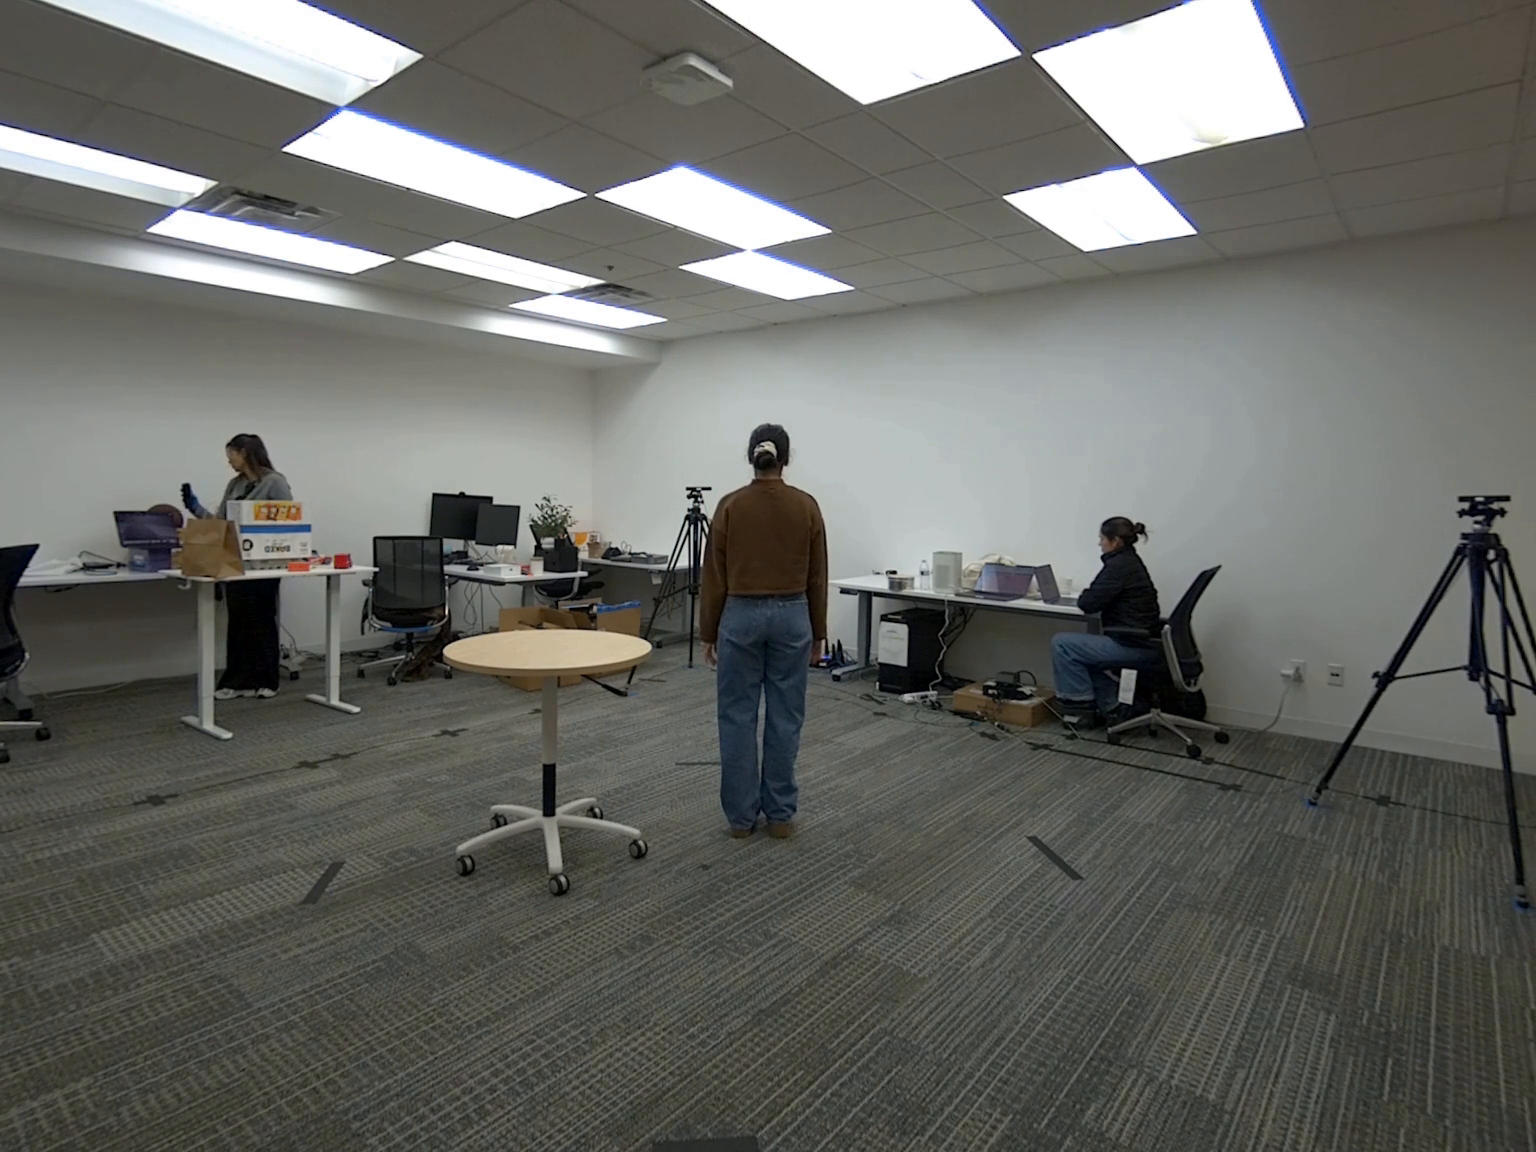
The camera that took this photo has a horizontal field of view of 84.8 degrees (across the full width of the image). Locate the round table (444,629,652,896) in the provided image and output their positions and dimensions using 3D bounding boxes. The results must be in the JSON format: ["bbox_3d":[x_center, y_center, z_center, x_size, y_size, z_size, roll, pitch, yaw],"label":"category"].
[{"bbox_3d":[-0.850,0.656,3.207,0.784,0.784,0.789,1,4,-2],"label":"round table"}]
